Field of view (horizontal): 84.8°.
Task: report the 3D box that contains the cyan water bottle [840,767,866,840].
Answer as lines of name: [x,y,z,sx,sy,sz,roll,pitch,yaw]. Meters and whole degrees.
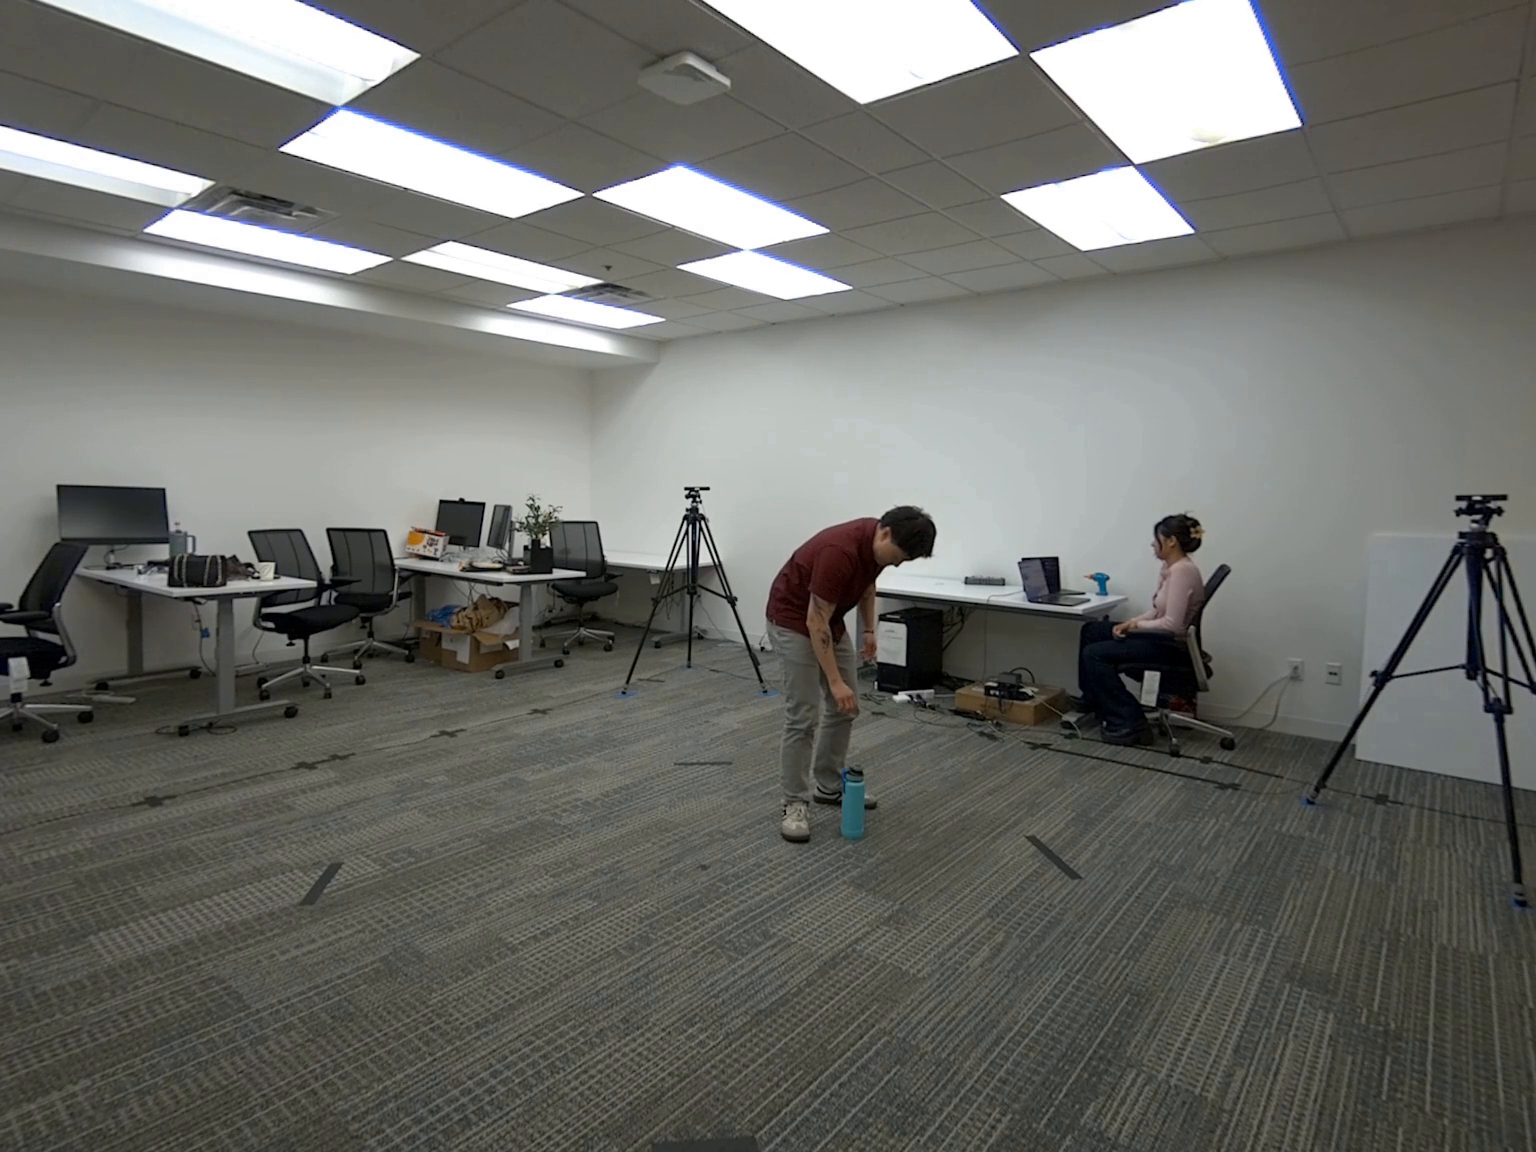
cyan water bottle: [0.334,0.907,3.429,0.092,0.282,0.093,2,3,-2]
